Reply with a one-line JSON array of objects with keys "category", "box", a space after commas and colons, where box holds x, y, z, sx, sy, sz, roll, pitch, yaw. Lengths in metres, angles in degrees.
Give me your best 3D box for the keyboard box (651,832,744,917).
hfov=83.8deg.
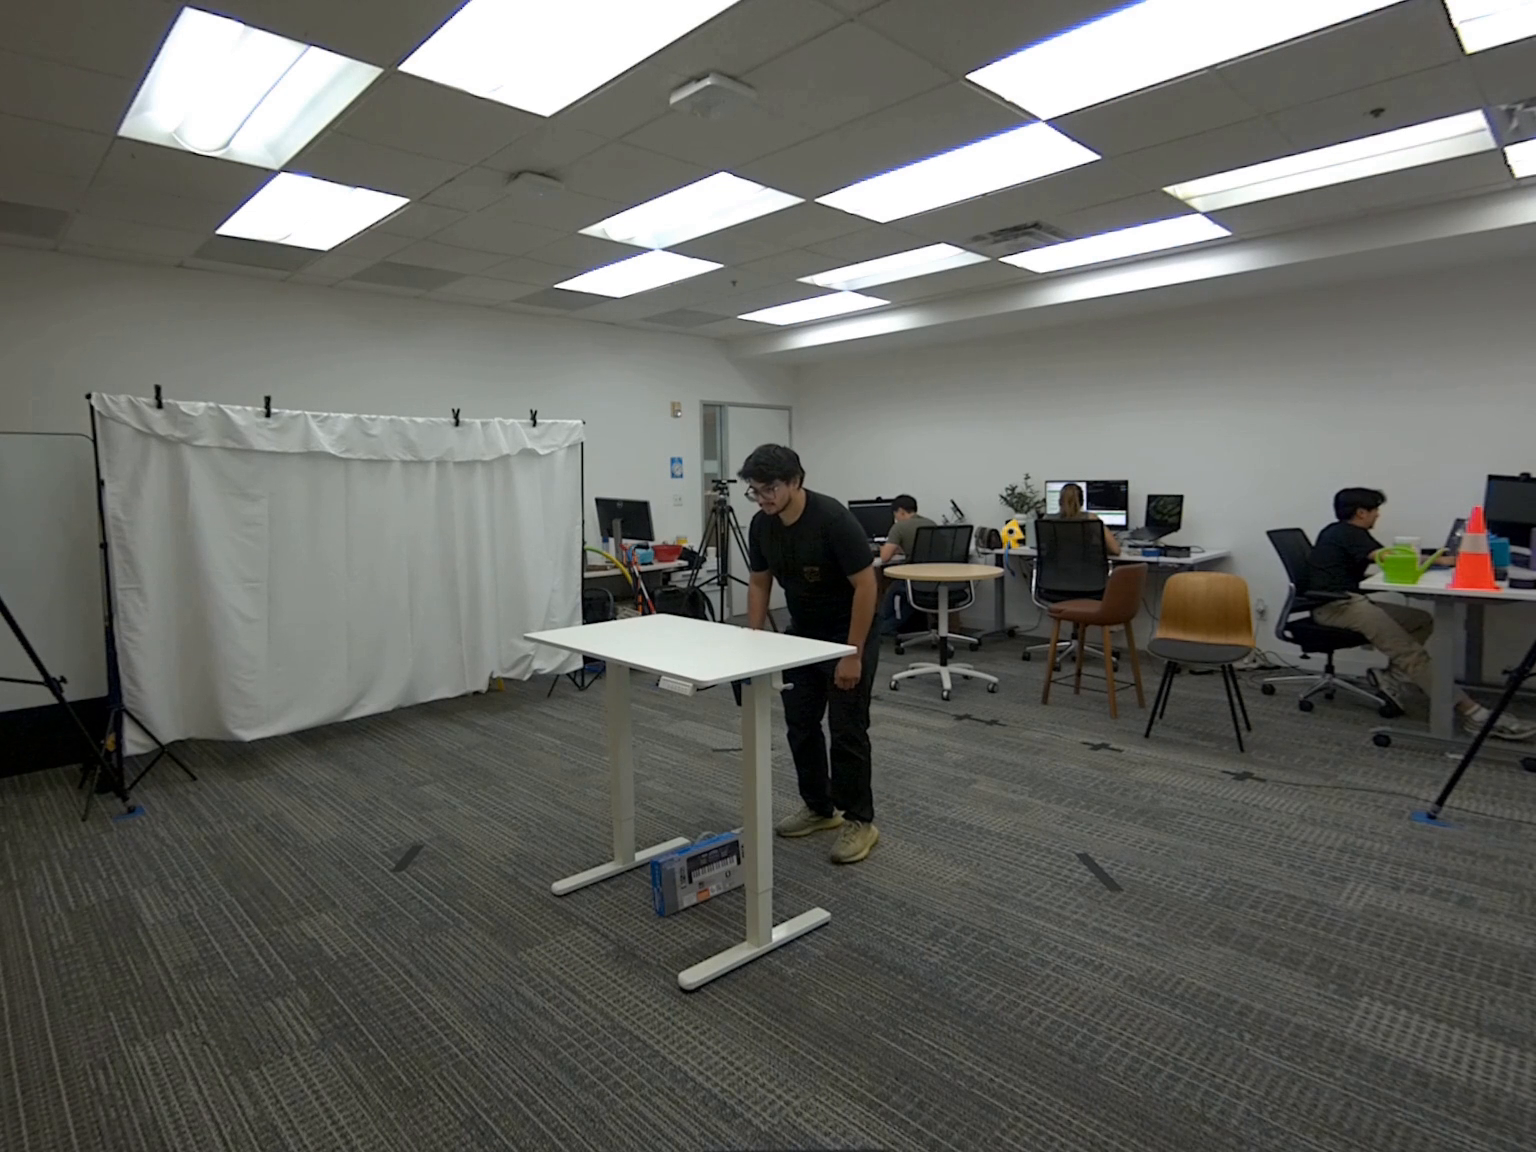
[{"category": "keyboard box", "box": [-0.191, 0.988, 2.889, 0.425, 0.176, 0.060, -6, -1, -40]}]
